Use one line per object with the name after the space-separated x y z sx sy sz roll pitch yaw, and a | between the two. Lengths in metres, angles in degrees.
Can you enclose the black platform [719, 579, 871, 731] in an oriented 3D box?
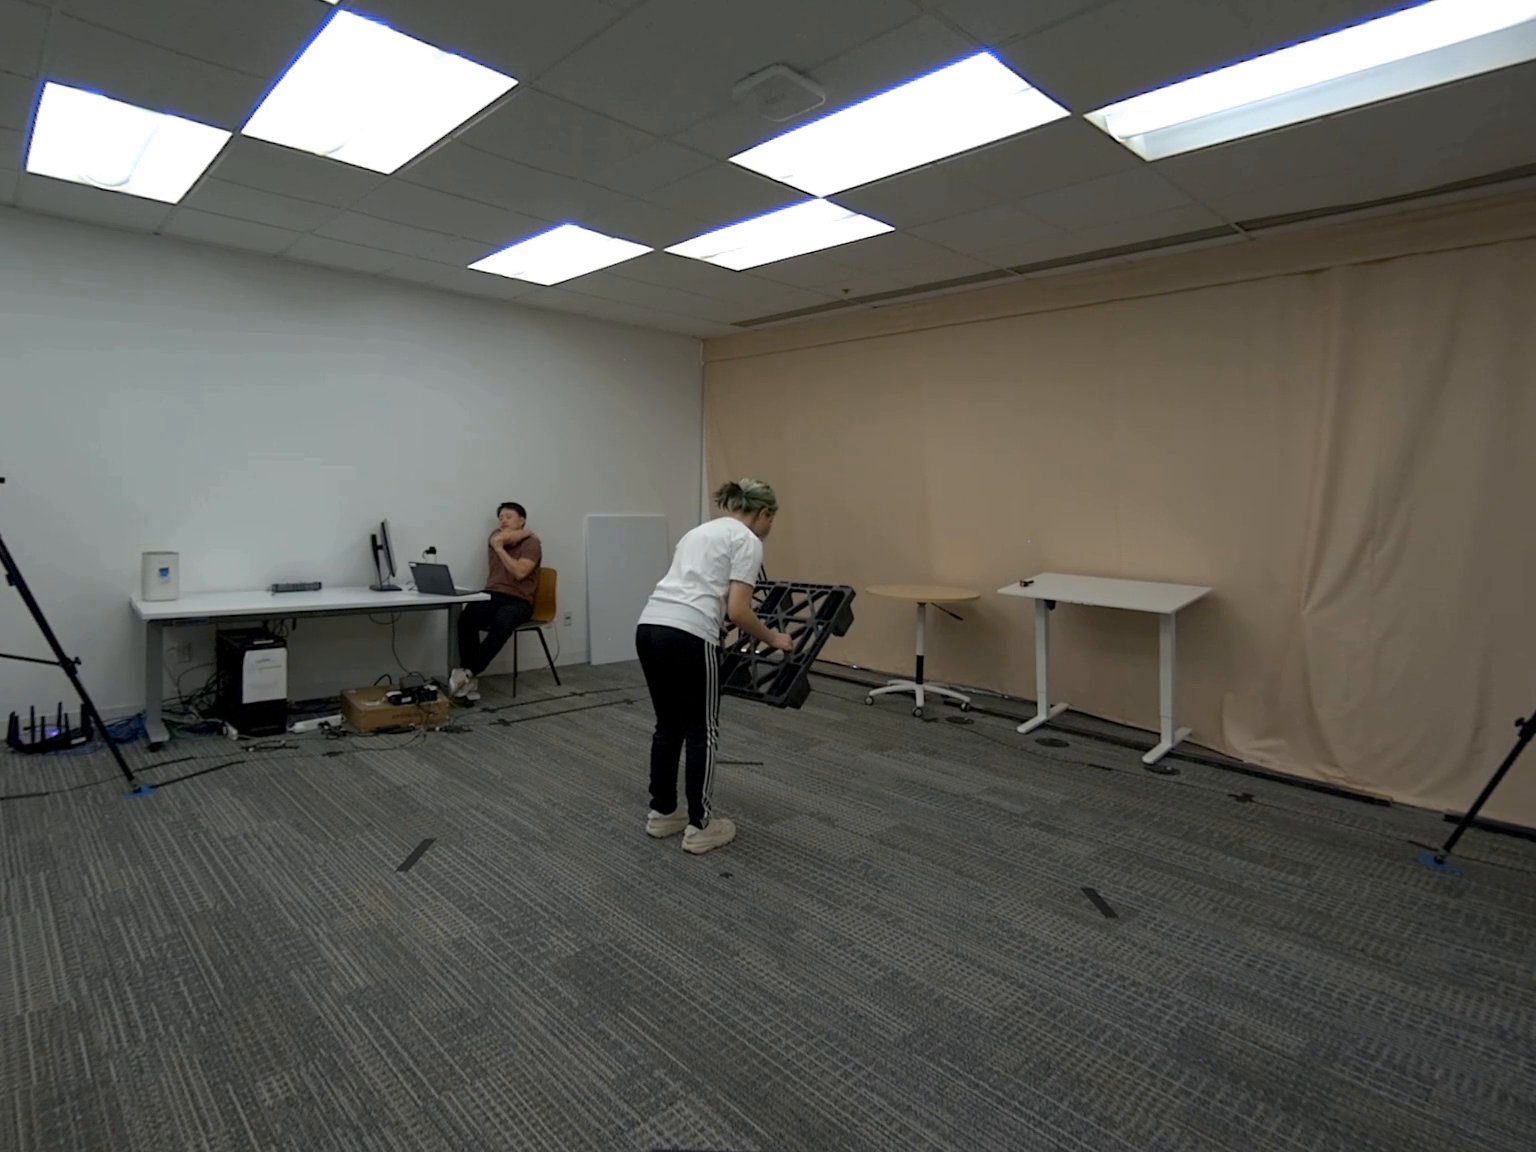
-0.048 0.296 3.629 0.825 0.607 0.139 3 -39 47 | black platform
